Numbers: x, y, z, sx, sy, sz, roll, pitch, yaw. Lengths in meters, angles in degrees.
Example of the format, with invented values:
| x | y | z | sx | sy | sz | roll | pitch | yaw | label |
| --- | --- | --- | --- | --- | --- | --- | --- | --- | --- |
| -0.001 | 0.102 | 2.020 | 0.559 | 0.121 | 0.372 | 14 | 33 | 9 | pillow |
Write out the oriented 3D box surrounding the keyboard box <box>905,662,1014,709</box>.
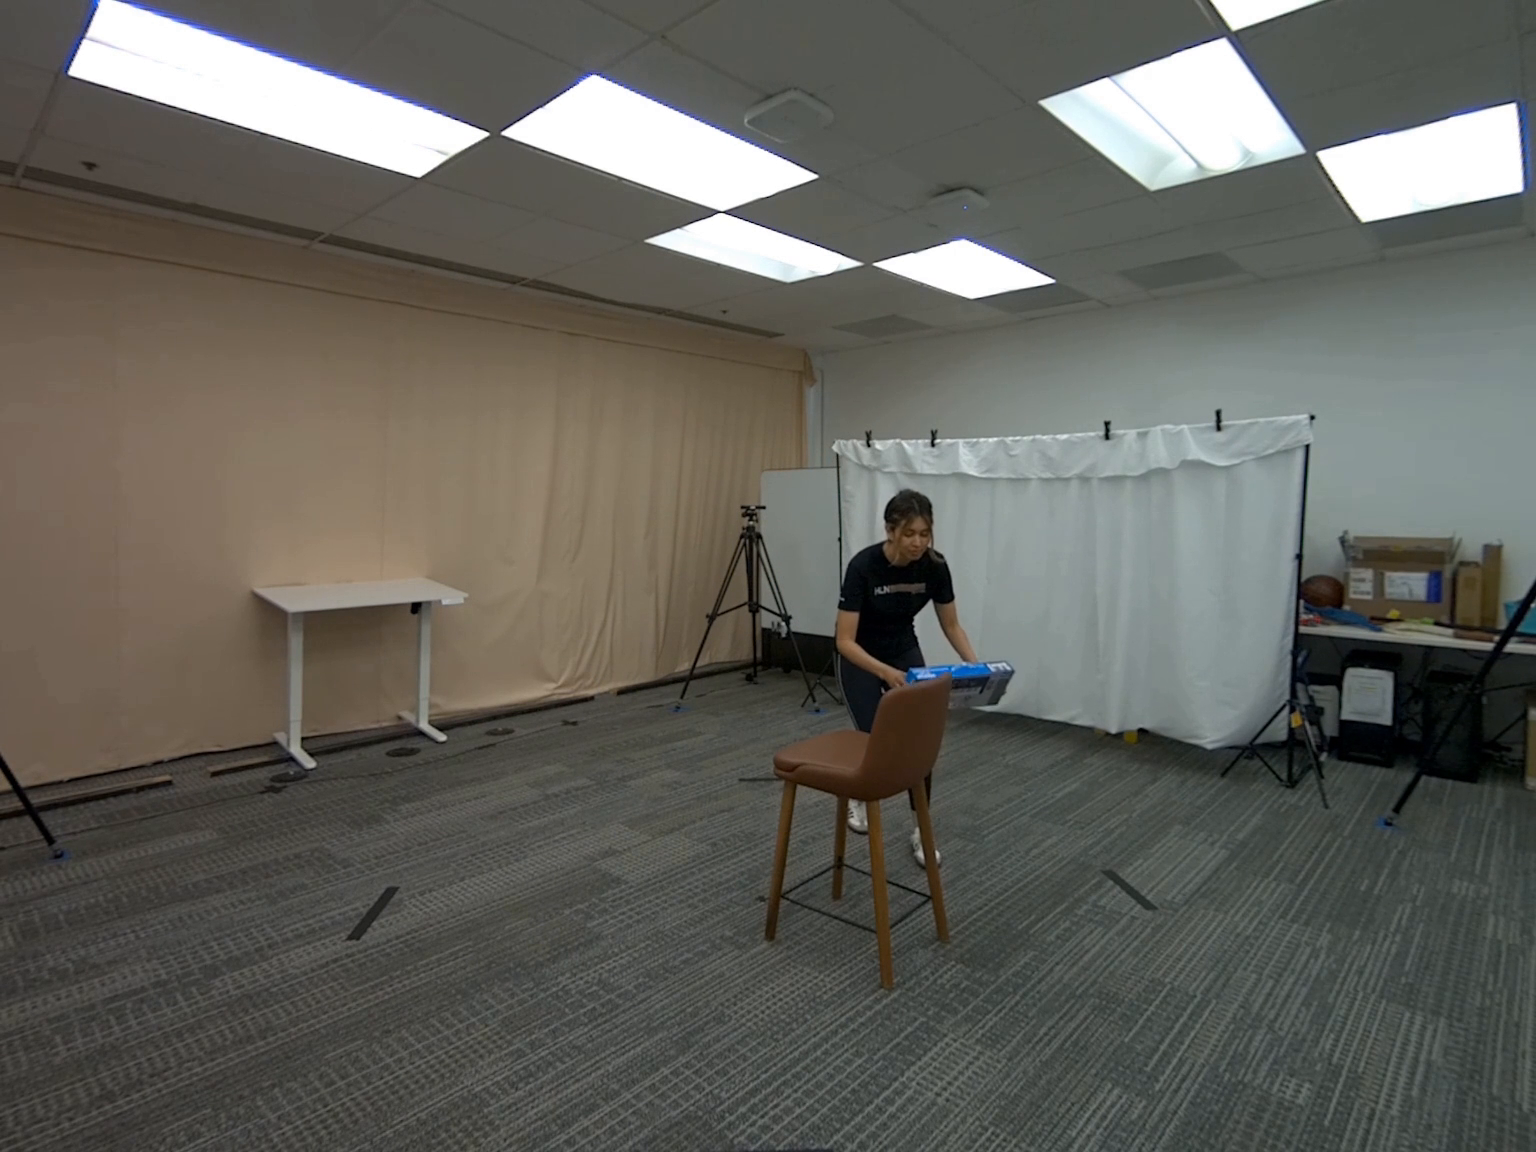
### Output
| x | y | z | sx | sy | sz | roll | pitch | yaw | label |
| --- | --- | --- | --- | --- | --- | --- | --- | --- | --- |
| 0.696 | 0.408 | 3.093 | 0.426 | 0.174 | 0.061 | -2 | 35 | -25 | keyboard box |
